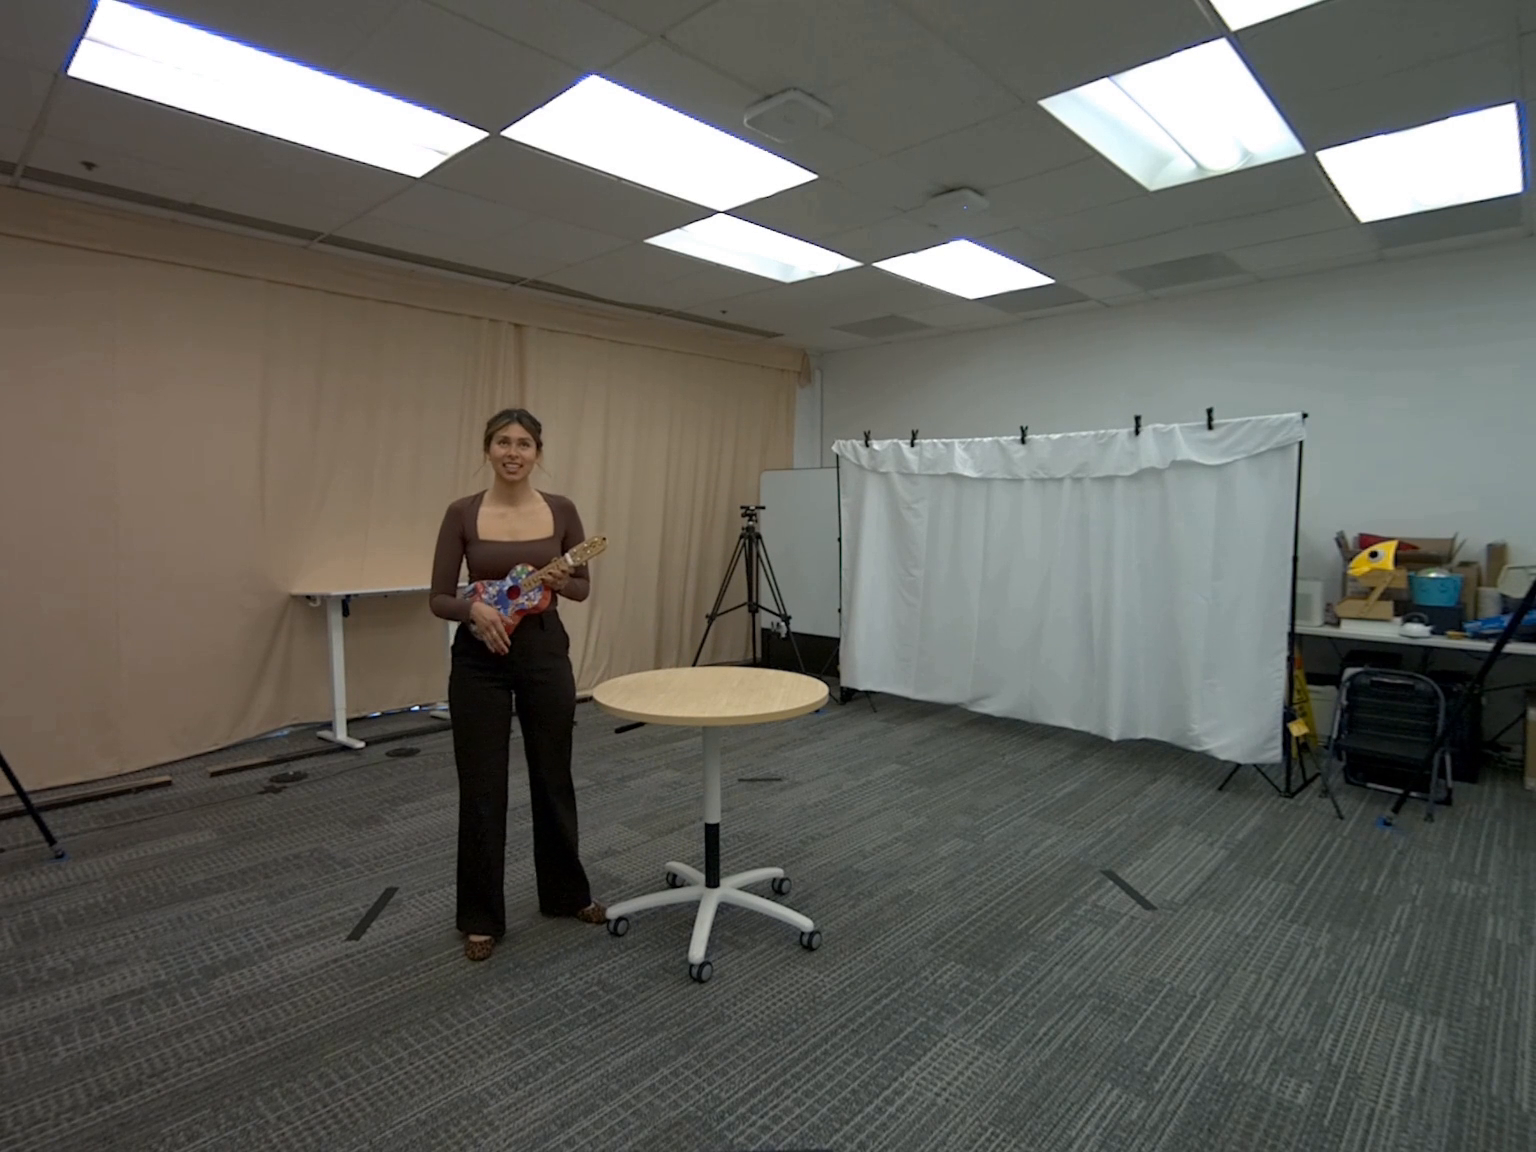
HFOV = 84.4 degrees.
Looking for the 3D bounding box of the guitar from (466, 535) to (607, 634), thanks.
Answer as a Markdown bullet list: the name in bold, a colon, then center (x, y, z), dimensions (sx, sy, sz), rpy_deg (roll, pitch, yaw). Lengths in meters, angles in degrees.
- **guitar**: center (-0.683, 0.047, 2.556), dimensions (0.500, 0.196, 0.069), rpy_deg (-22, -17, 7)
